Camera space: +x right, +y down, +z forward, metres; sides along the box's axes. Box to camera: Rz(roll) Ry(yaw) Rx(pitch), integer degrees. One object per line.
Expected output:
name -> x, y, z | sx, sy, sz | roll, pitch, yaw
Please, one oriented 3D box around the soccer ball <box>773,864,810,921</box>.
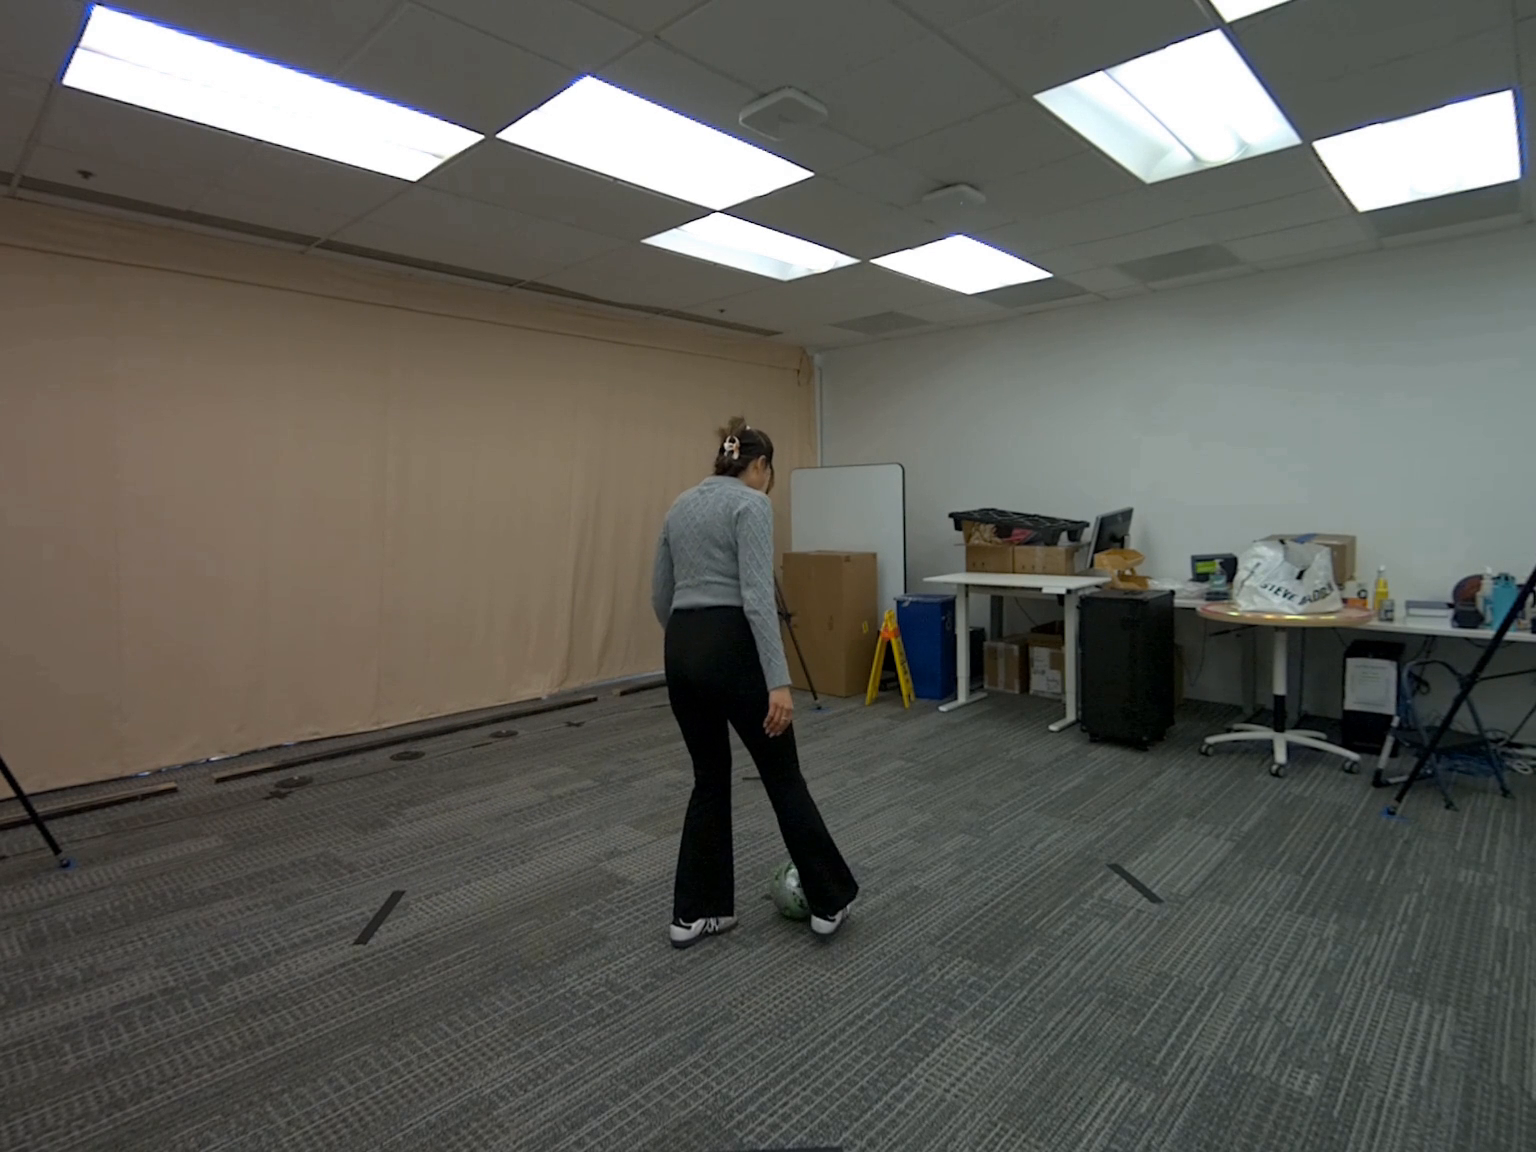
soccer ball -> 0.081, 1.057, 2.850 | 0.187, 0.187, 0.188 | -1, 4, -2
